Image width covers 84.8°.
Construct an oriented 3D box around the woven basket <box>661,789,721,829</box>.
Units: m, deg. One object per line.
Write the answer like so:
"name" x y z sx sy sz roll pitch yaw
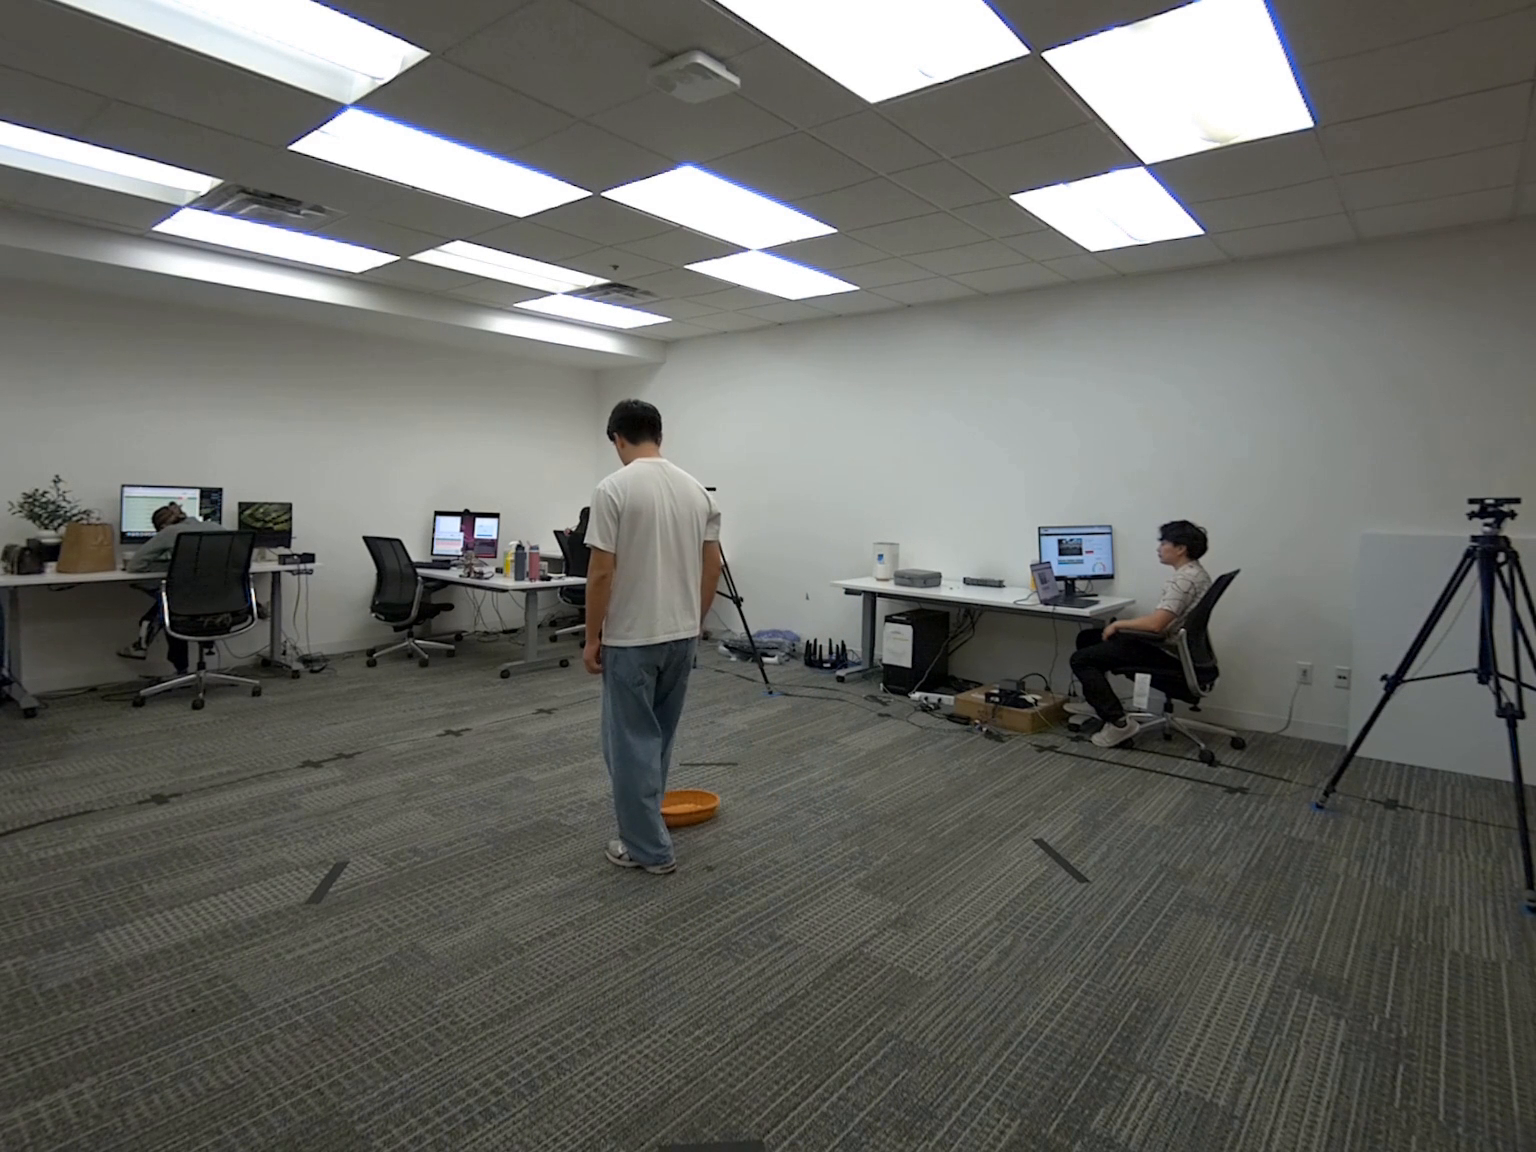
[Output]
"woven basket" -0.371 0.973 3.586 0.341 0.073 0.260 -2 7 -30
